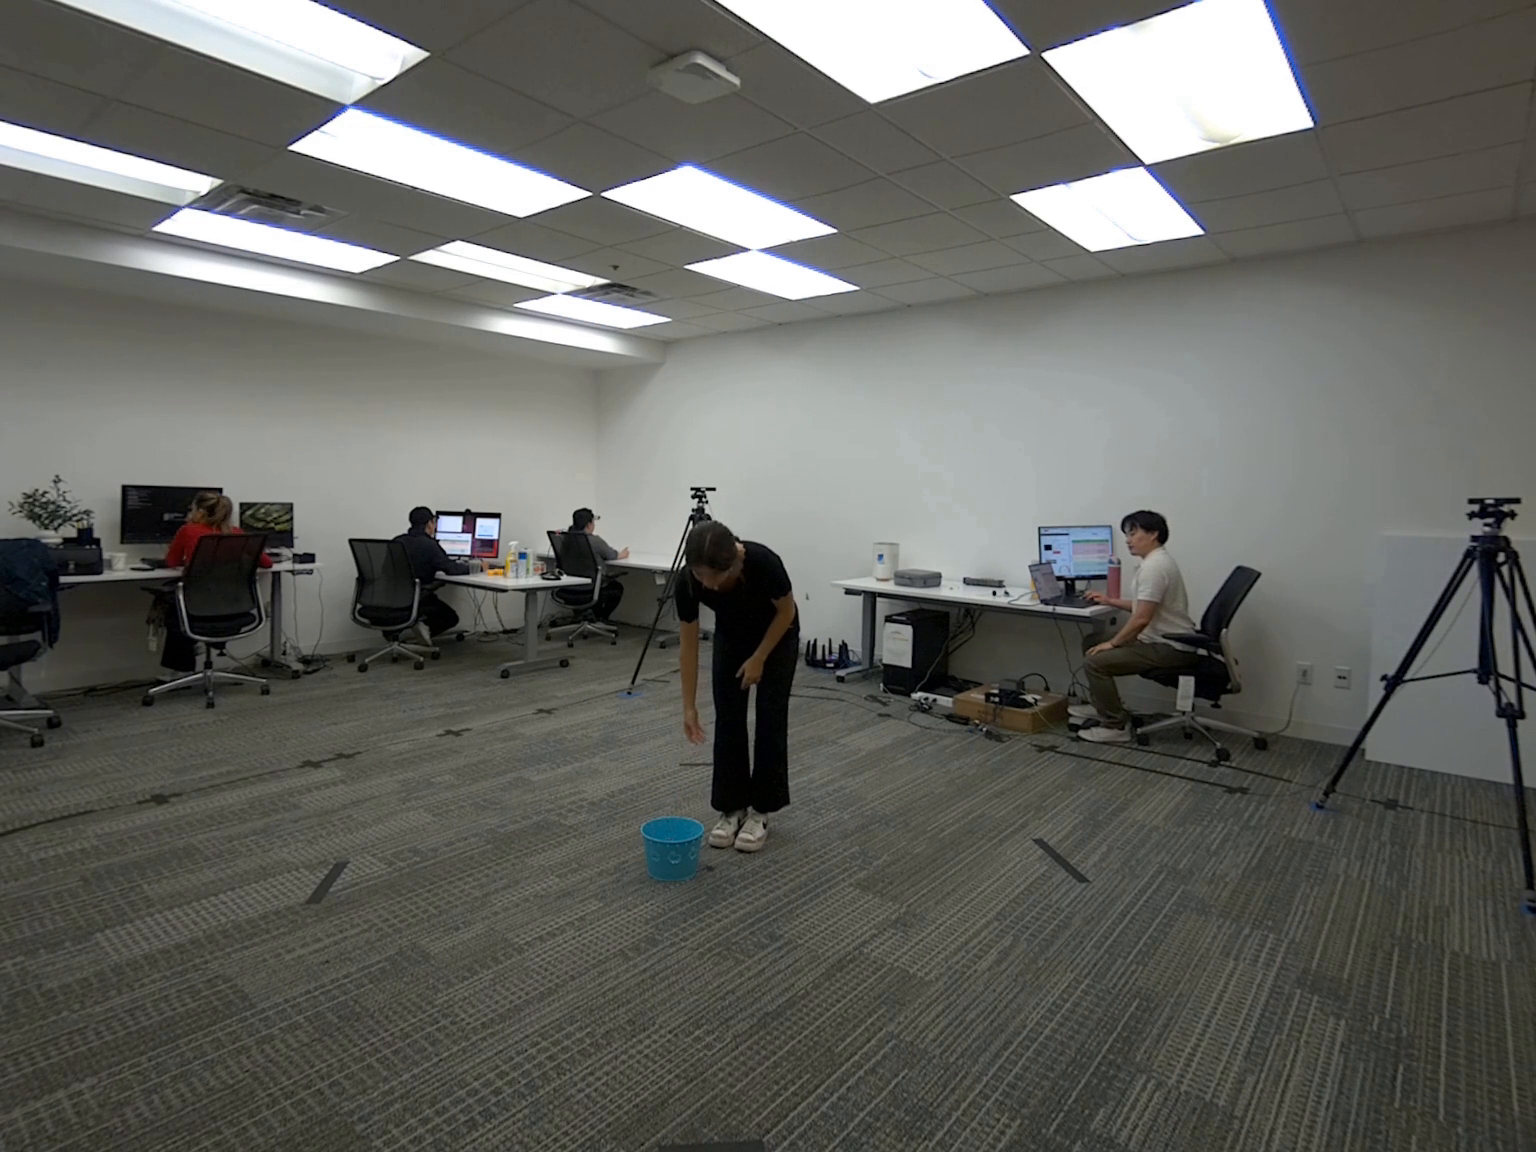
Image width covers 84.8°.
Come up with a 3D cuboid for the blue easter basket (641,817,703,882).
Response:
[{"bbox_3d":[-0.353,0.987,3.090,0.243,0.155,0.245,0,4,-2],"label":"blue easter basket"}]
